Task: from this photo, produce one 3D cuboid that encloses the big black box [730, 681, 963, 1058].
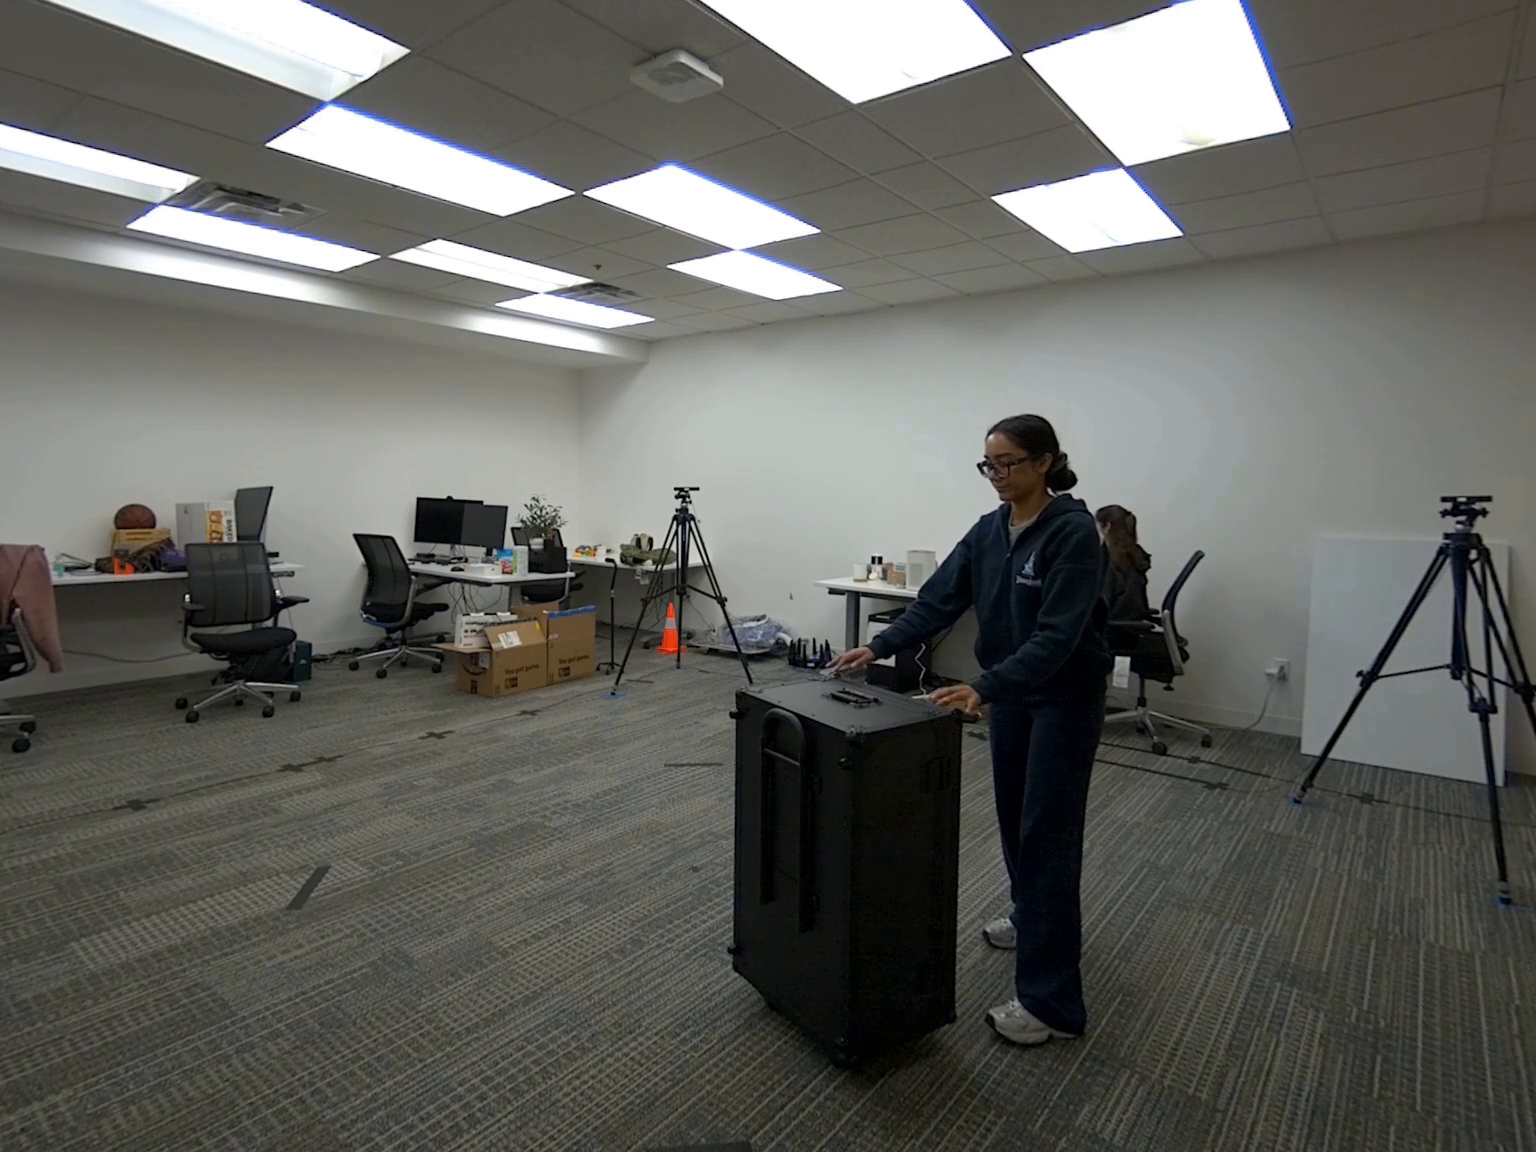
[{"bbox_3d":[0.180,0.743,2.200,0.385,0.858,0.538,-2,5,-34],"label":"big black box"}]
